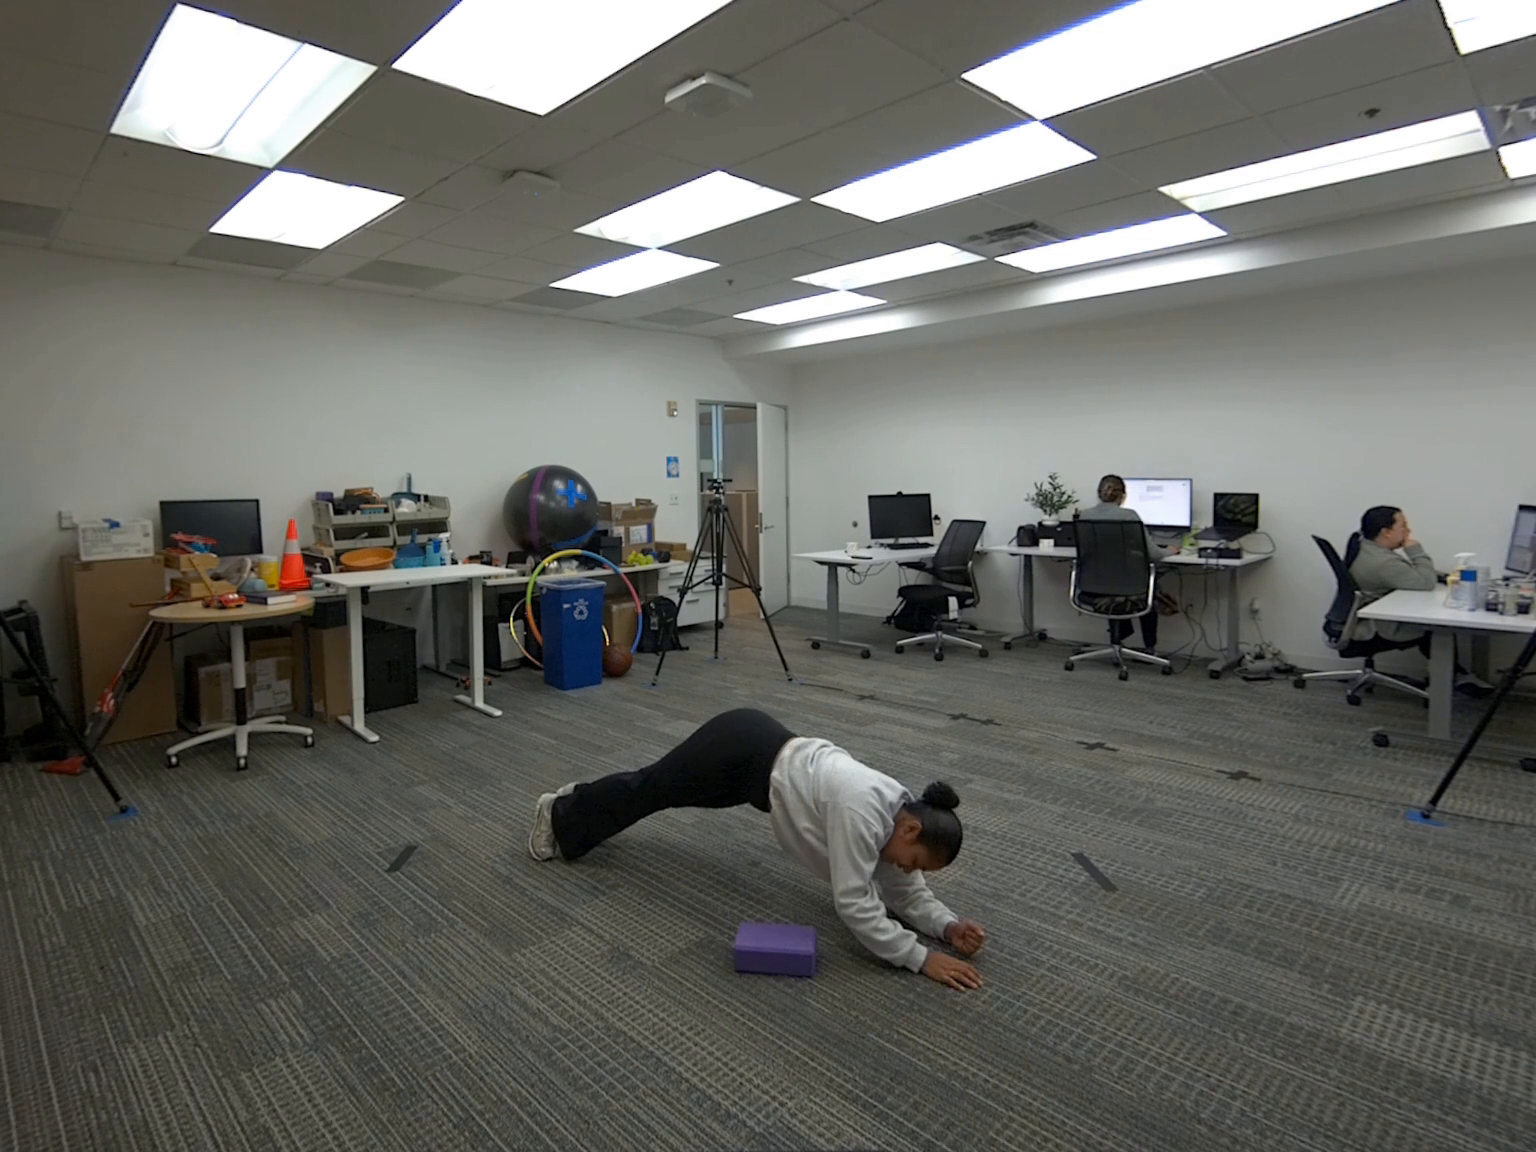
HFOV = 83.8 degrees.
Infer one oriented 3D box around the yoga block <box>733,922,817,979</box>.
[{"bbox_3d":[0.032,1.083,2.470,0.231,0.076,0.148,0,7,8],"label":"yoga block"}]
